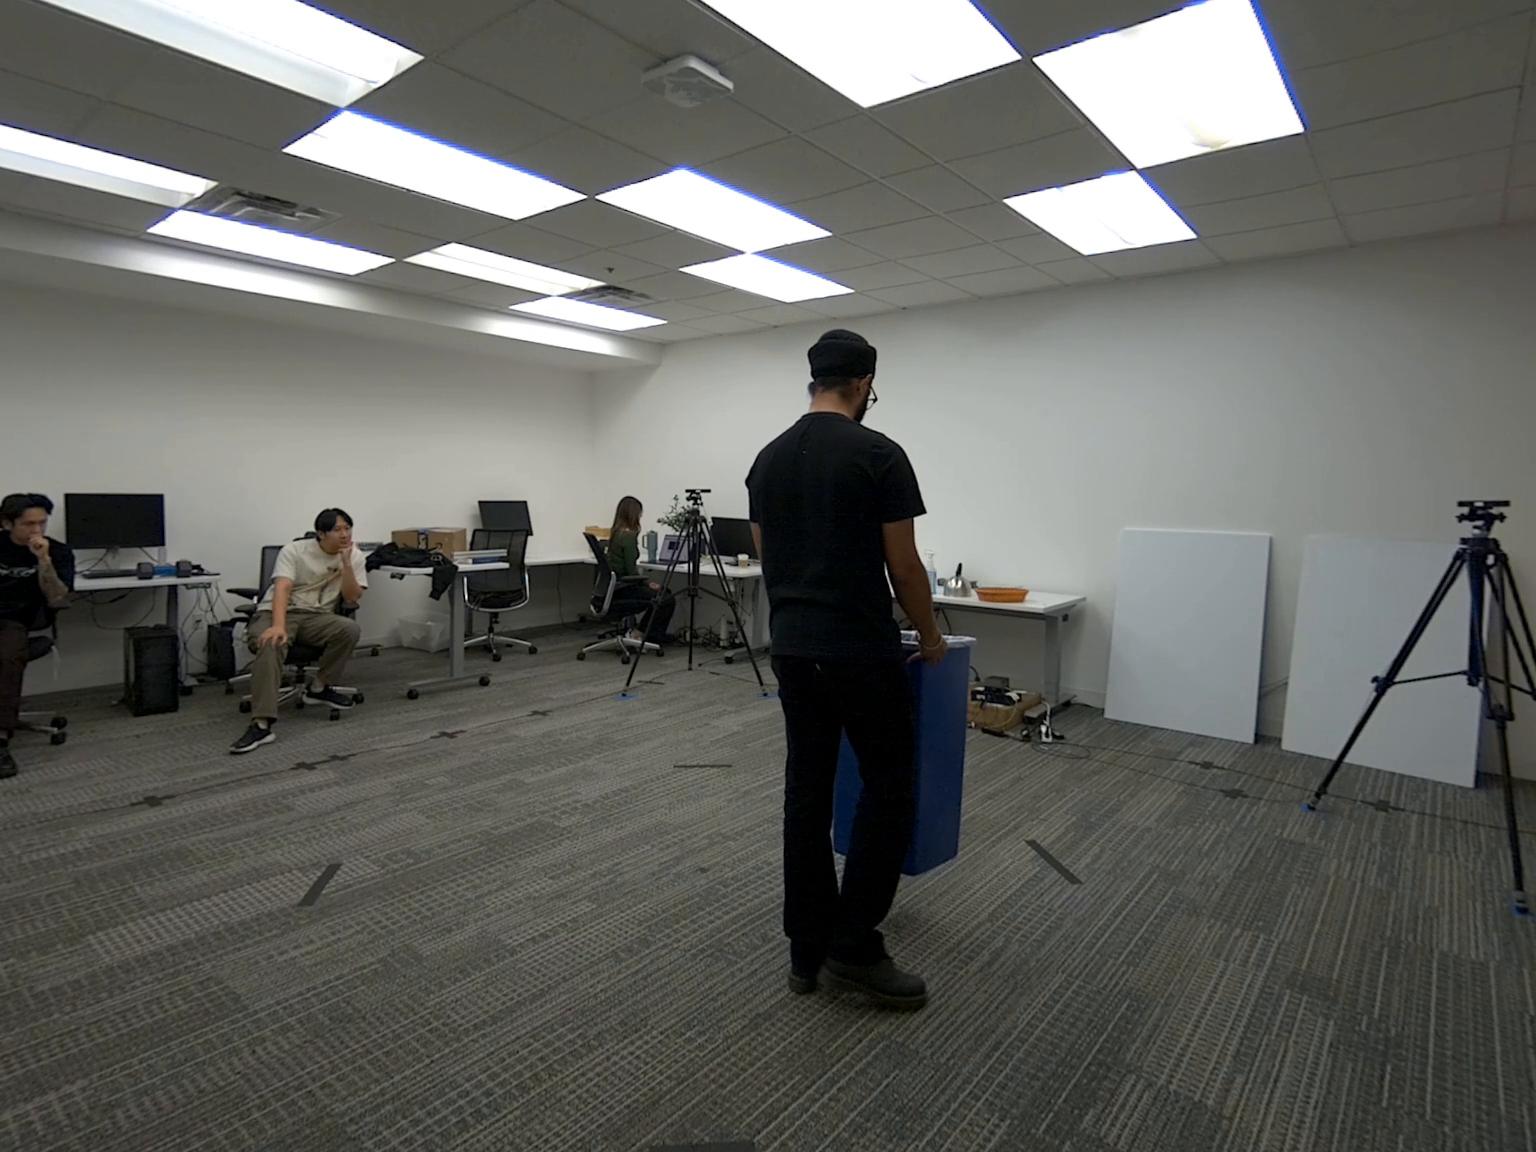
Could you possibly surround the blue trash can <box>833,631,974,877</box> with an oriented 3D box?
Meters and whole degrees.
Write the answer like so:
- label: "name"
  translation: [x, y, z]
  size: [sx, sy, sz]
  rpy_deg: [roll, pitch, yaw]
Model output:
- label: "blue trash can"
  translation: [0.429, 0.554, 2.796]
  size: [0.390, 0.715, 0.361]
  rpy_deg: [1, -2, 40]
